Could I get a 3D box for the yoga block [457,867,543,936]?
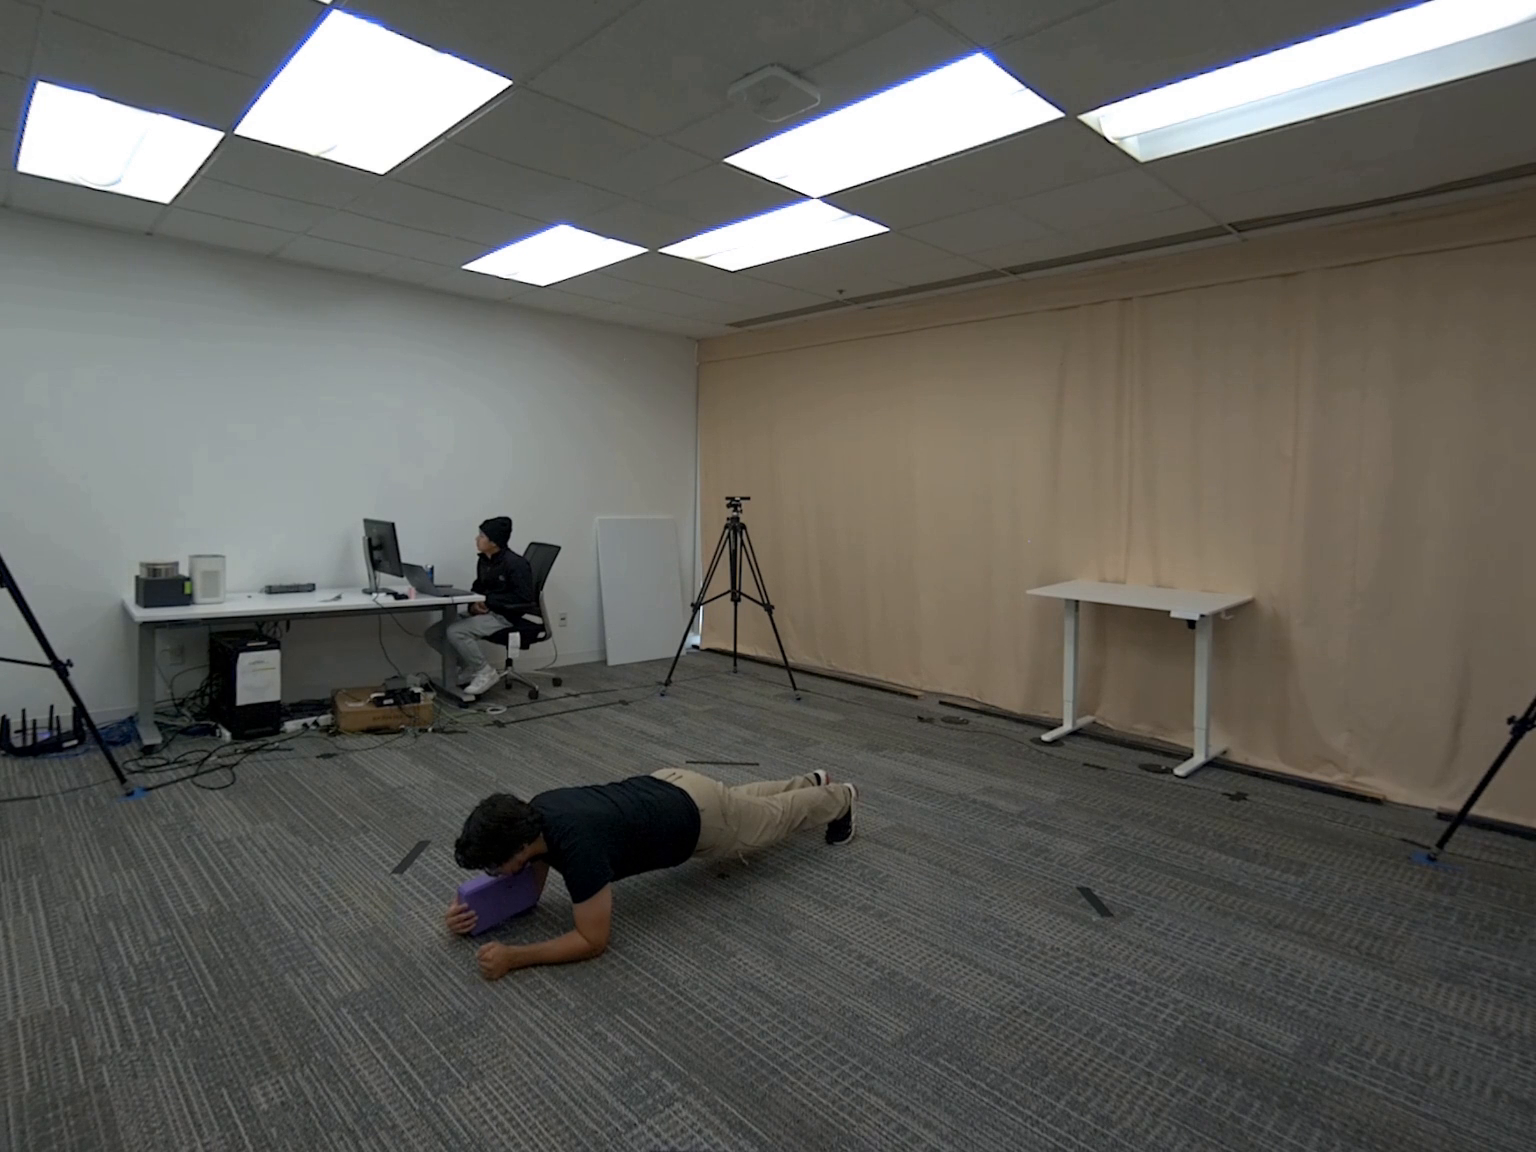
[{"bbox_3d":[-0.865,1.020,2.698,0.225,0.148,0.078,-12,10,-35],"label":"yoga block"}]
